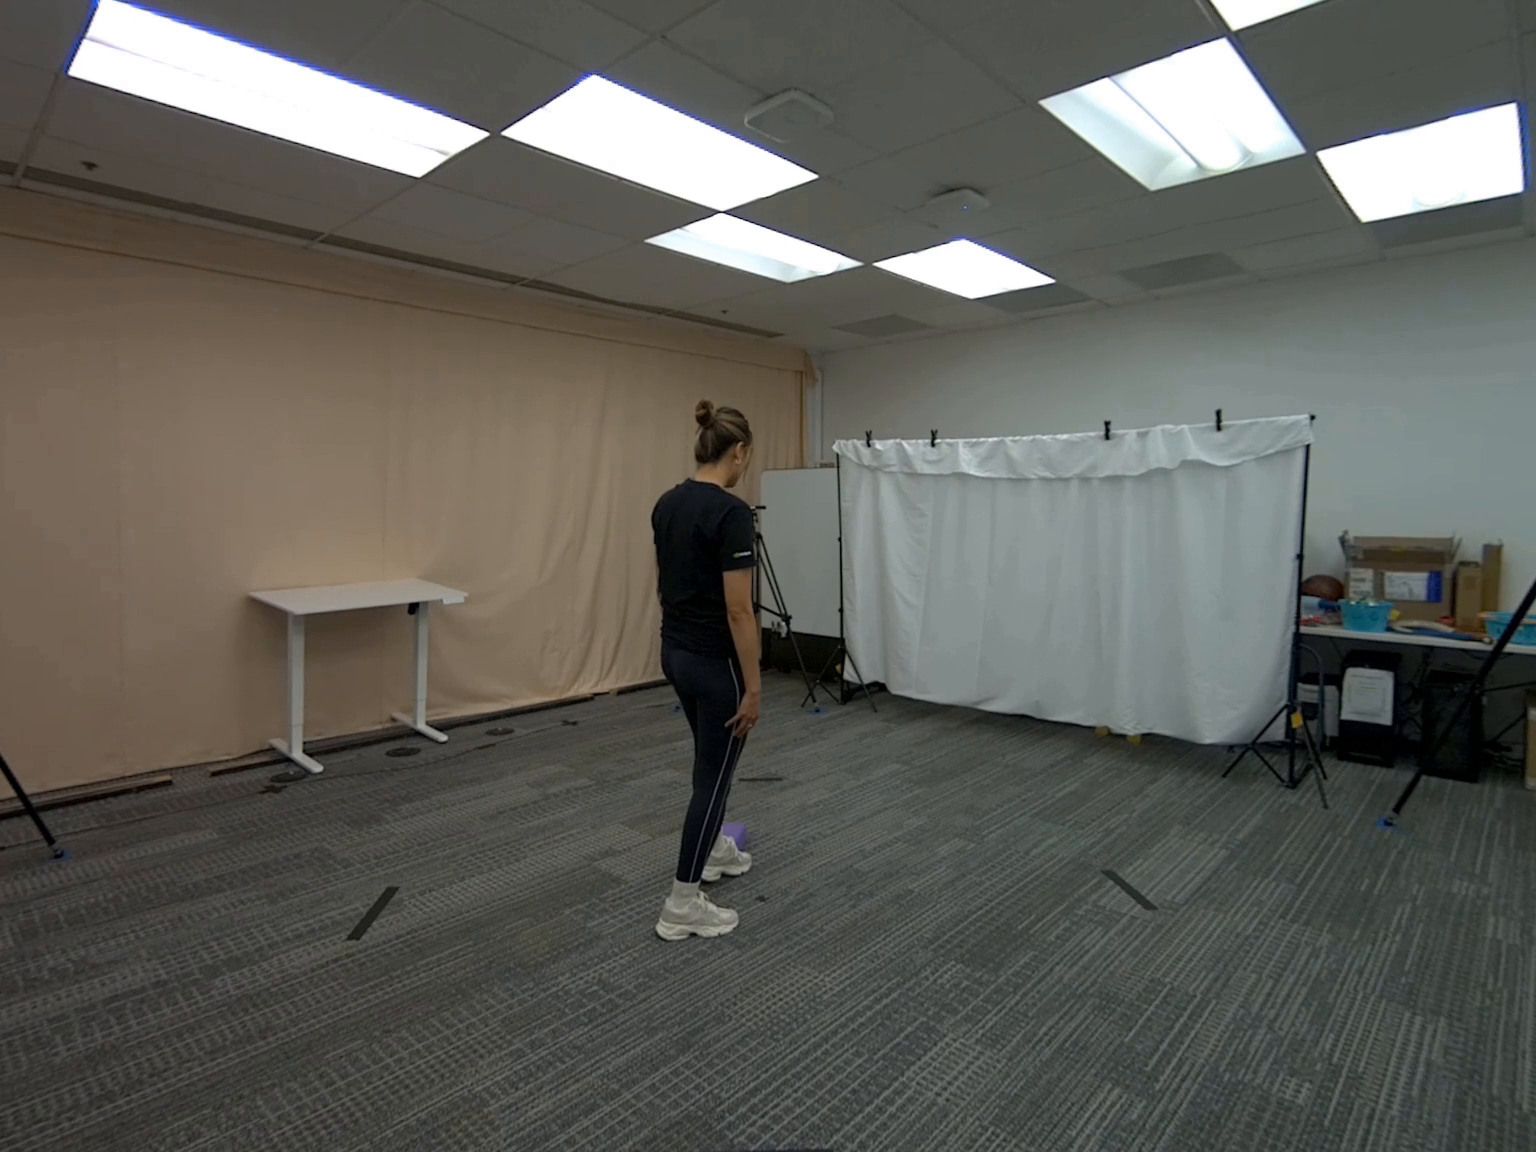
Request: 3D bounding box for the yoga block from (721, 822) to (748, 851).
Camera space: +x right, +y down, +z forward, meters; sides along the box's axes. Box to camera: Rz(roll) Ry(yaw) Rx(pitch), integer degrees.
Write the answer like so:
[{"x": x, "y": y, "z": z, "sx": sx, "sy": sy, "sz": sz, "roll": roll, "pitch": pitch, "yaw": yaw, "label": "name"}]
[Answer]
[{"x": -0.182, "y": 1.070, "z": 3.391, "sx": 0.151, "sy": 0.076, "sz": 0.227, "roll": 1, "pitch": 6, "yaw": 12, "label": "yoga block"}]
